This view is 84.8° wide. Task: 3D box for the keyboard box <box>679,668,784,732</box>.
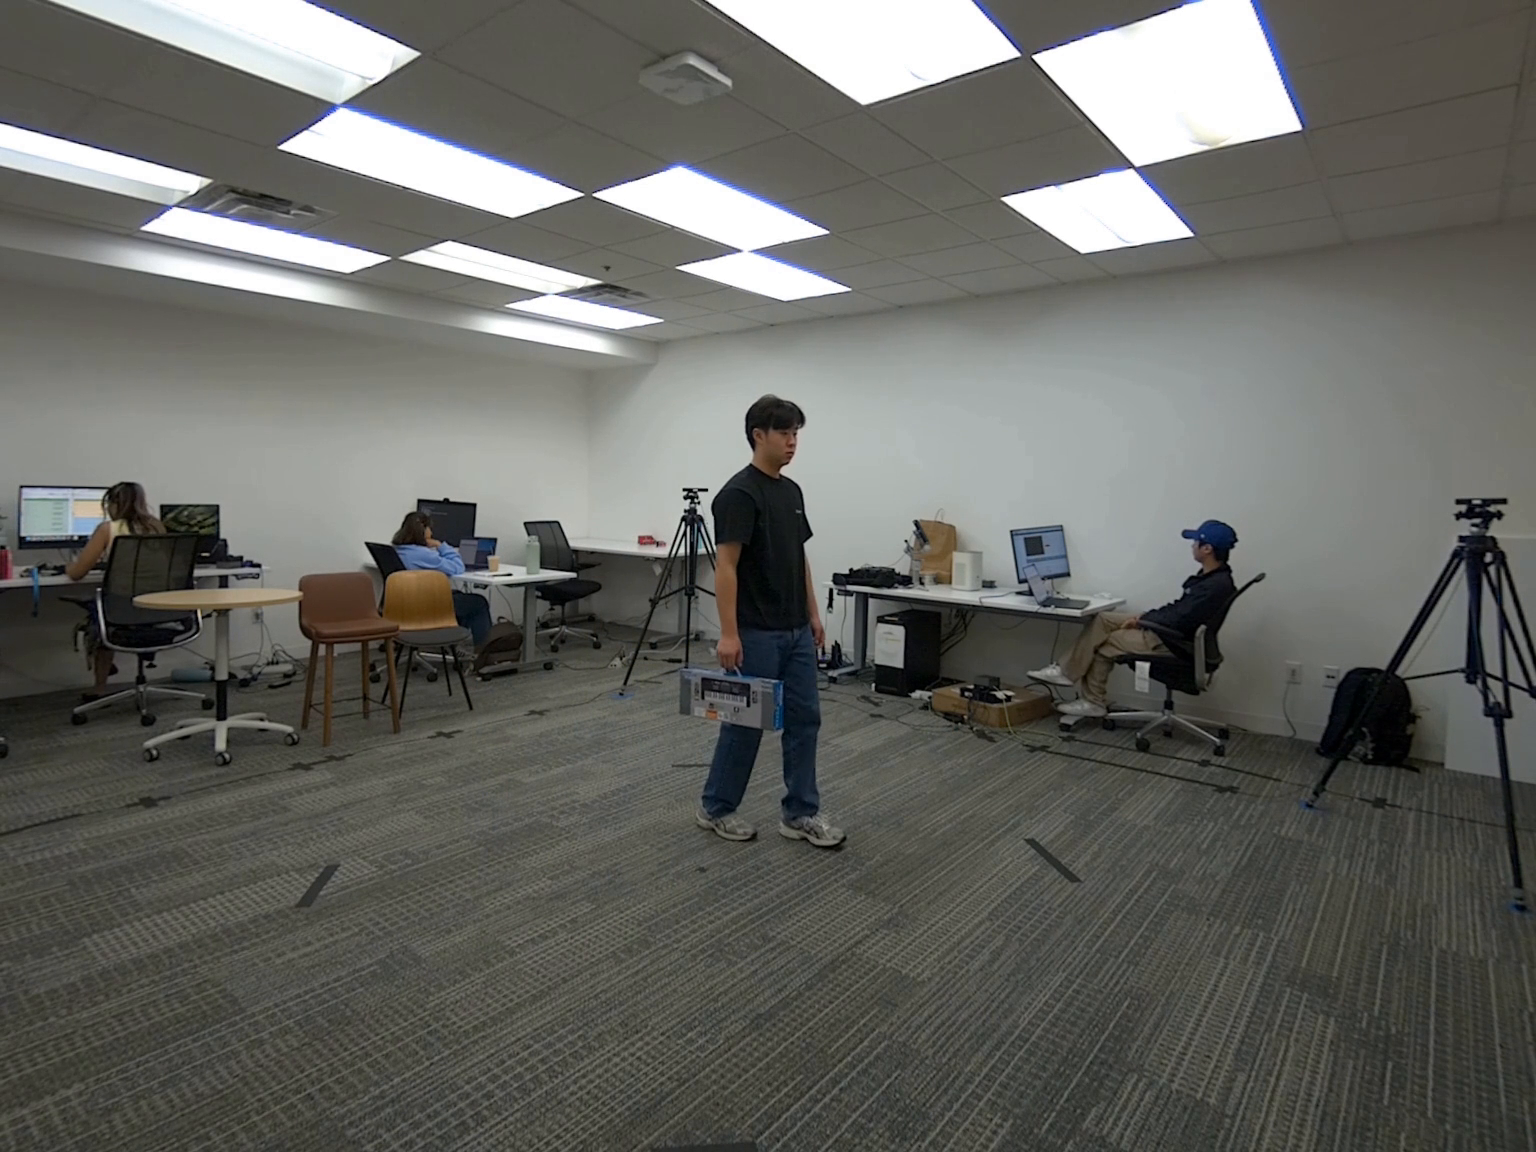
[{"bbox_3d":[-0.148,0.447,3.158,0.450,0.176,0.057,2,0,36],"label":"keyboard box"}]
